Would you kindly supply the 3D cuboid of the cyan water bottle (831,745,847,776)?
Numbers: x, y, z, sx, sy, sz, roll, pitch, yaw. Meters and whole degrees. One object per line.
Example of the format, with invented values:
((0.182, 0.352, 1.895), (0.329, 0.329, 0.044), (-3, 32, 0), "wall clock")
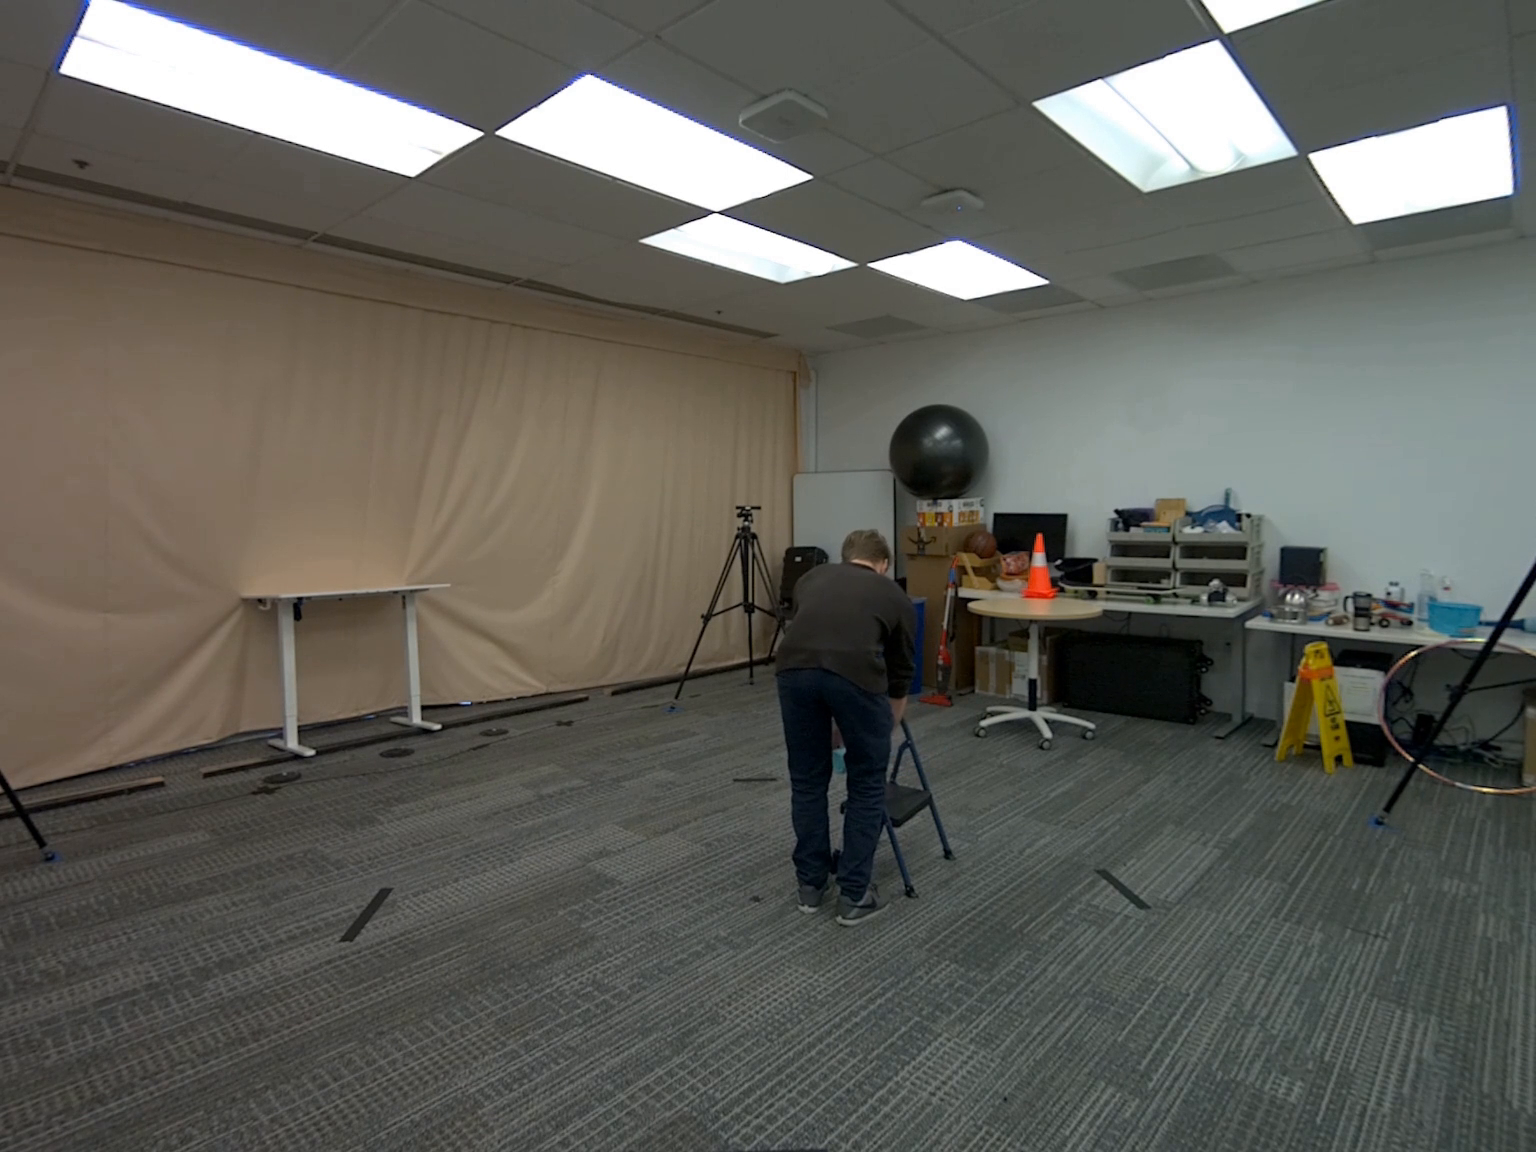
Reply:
((0.379, 0.685, 3.274), (0.276, 0.092, 0.095), (-10, 9, -36), "cyan water bottle")
